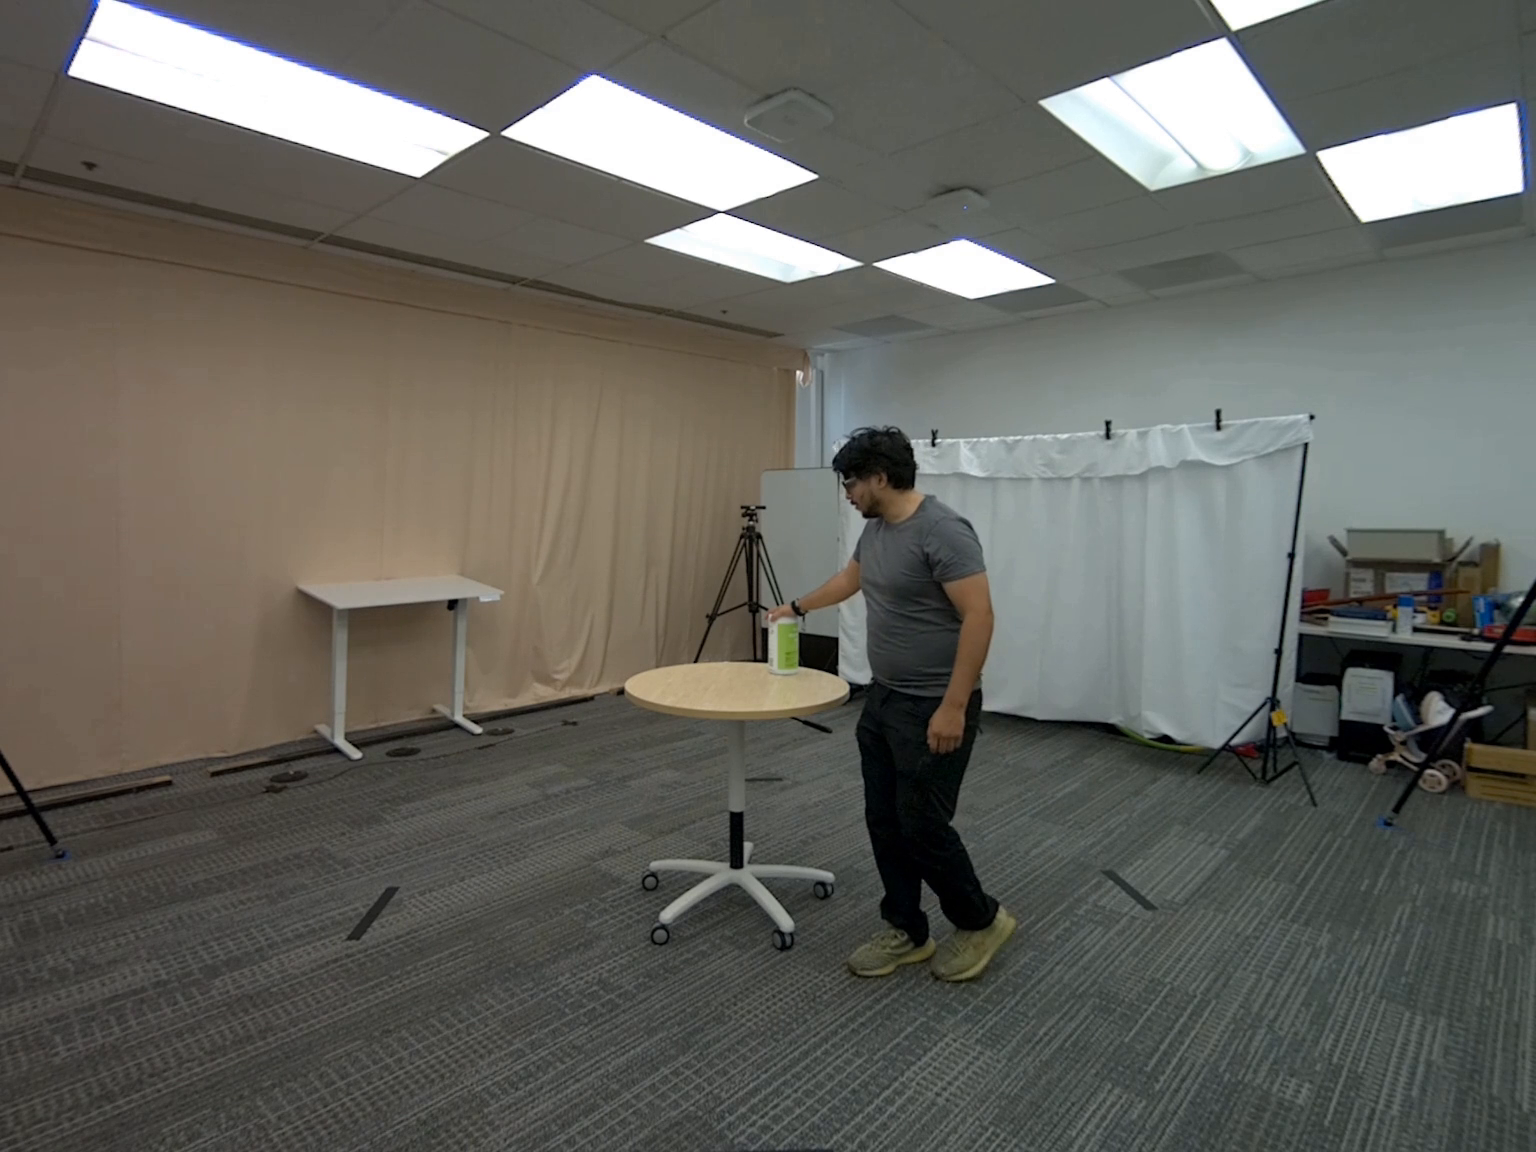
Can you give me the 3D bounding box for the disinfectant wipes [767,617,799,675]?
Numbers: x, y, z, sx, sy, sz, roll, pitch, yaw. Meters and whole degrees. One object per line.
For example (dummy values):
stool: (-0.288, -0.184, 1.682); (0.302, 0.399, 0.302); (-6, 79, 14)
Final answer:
disinfectant wipes: (0.058, 0.248, 3.066); (0.117, 0.217, 0.118); (4, 4, -2)
